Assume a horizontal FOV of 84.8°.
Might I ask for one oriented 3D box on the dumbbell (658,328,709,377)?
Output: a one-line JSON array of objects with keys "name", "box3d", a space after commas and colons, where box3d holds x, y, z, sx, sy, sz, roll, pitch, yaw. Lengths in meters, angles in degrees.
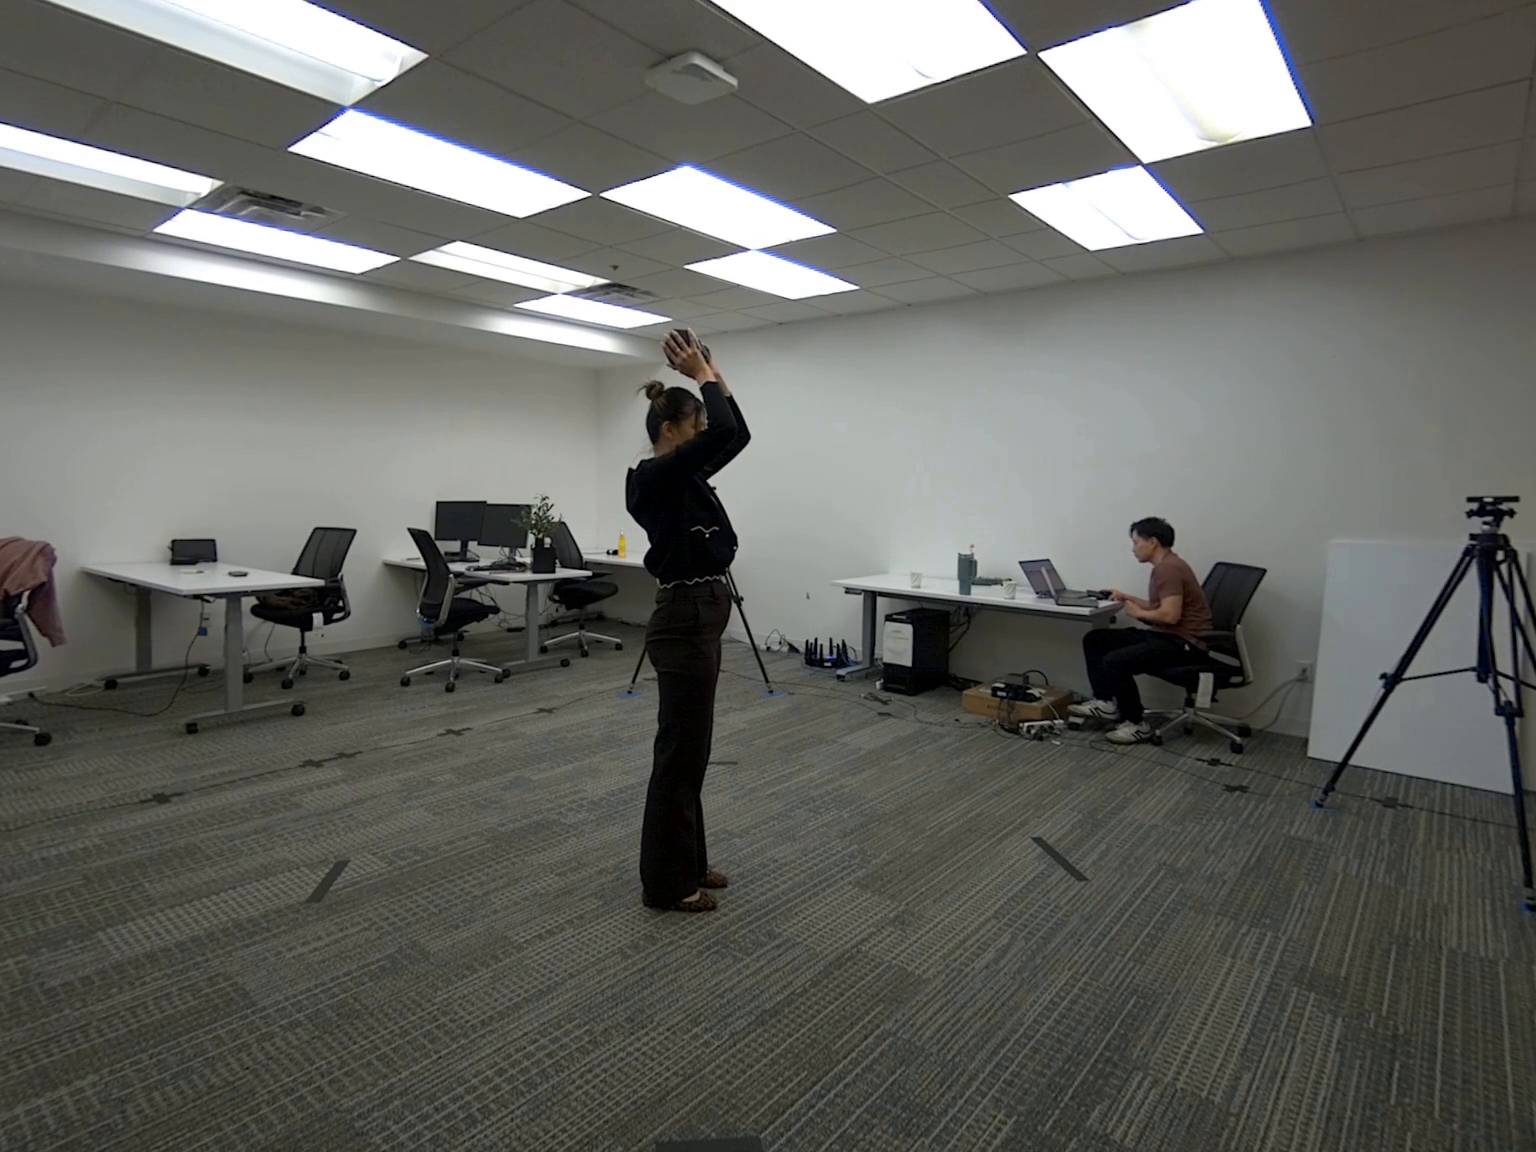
[{"name": "dumbbell", "box3d": [-0.280, -0.741, 2.803, 0.123, 0.108, 0.294, 4, 6, 2]}]
